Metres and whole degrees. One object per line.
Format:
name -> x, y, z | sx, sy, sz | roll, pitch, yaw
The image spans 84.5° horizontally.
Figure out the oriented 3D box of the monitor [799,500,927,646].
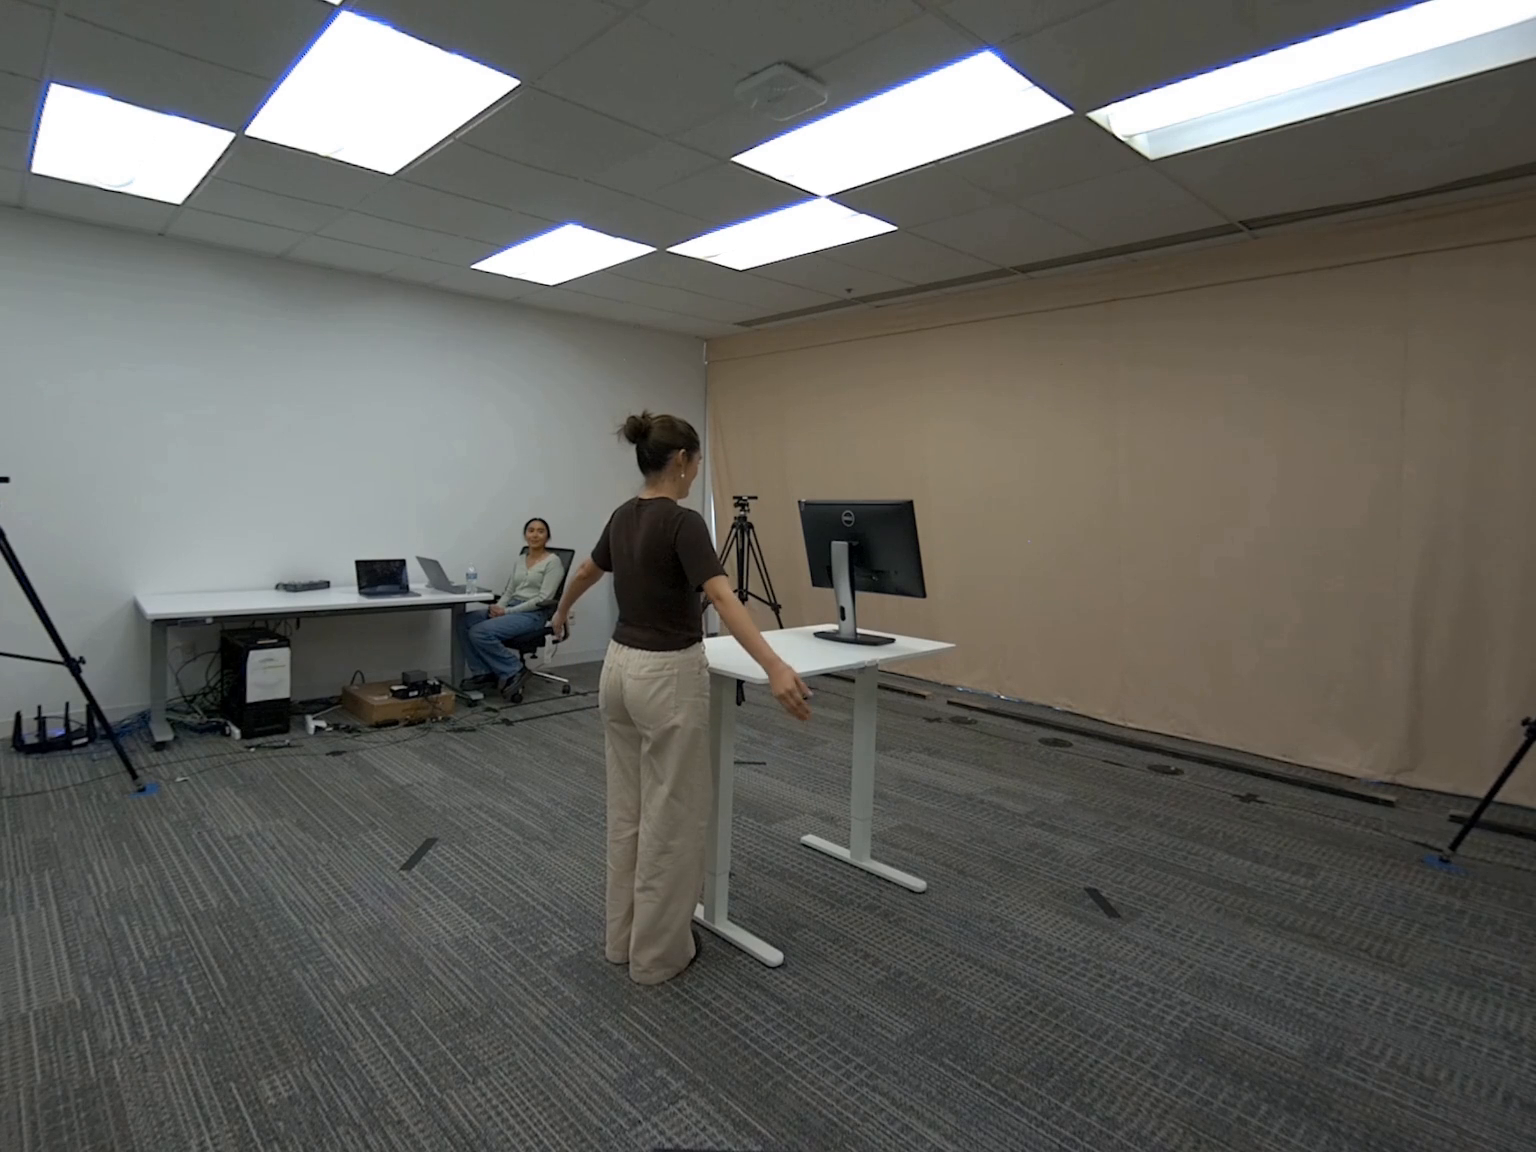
monitor -> 0.307, -0.015, 3.072 | 0.183, 0.521, 0.553 | -5, 7, -44
